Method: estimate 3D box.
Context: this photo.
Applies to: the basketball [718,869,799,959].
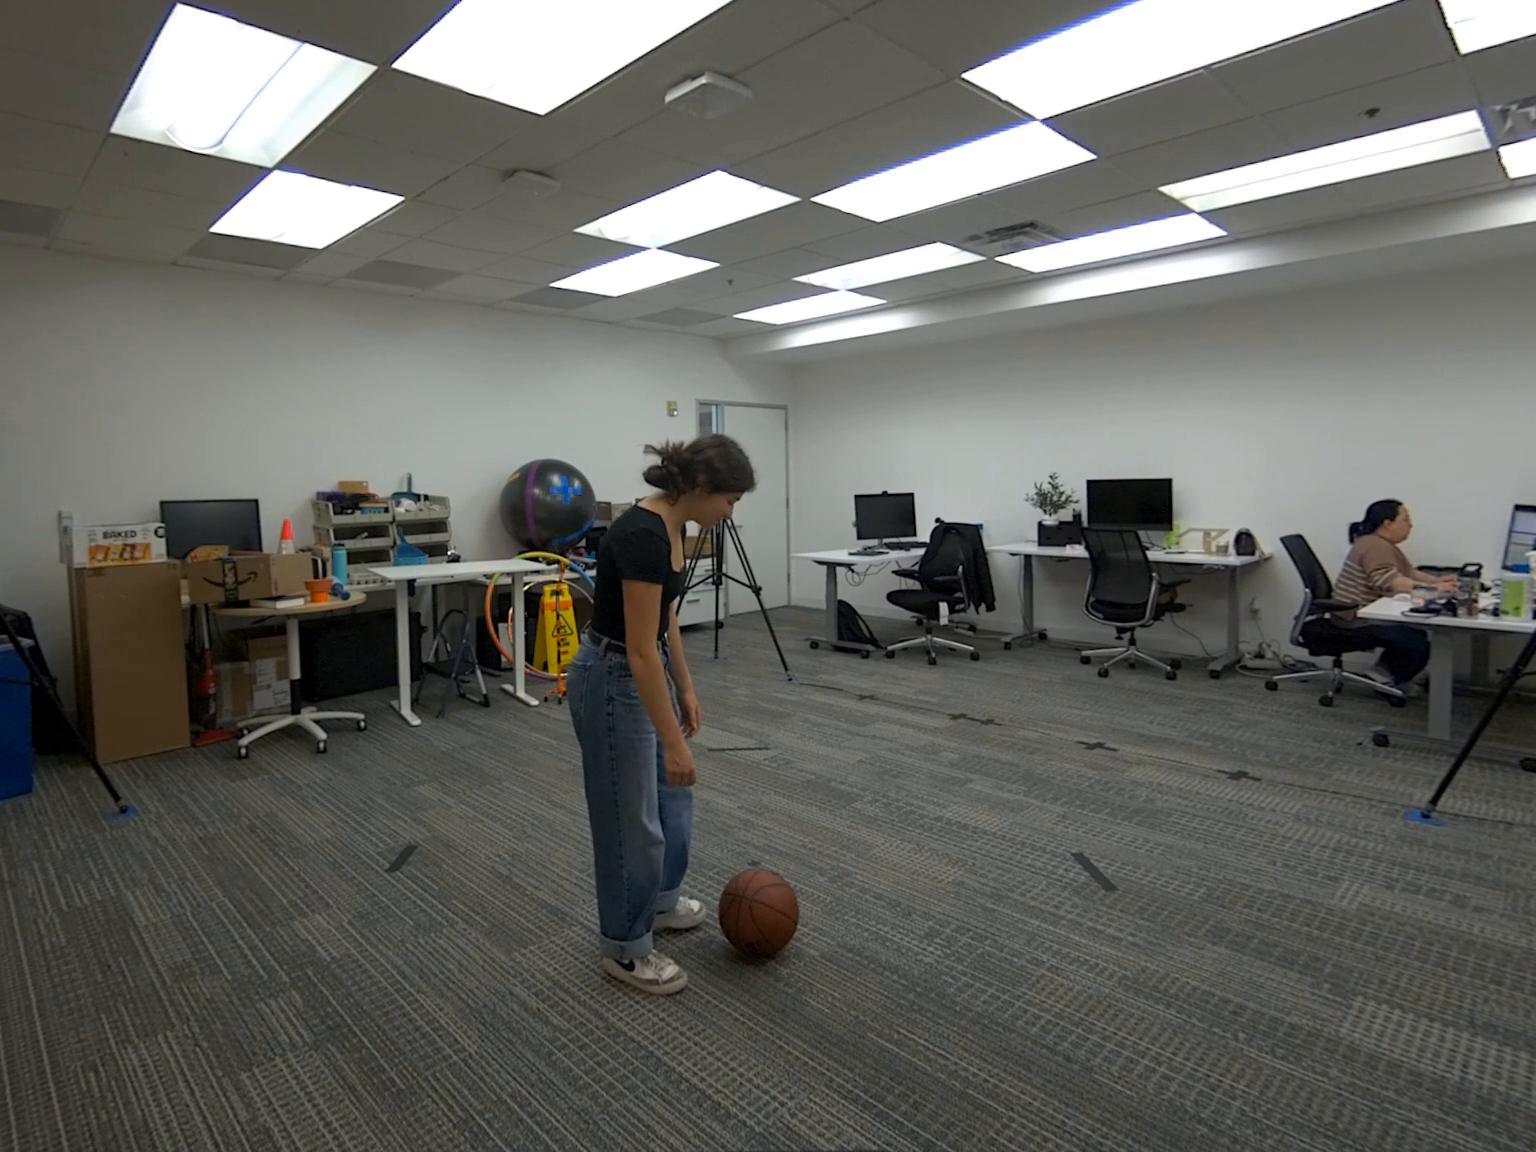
[{"bbox_3d":[-0.024,0.989,2.527,0.236,0.235,0.237,-1,5,-2],"label":"basketball"}]
